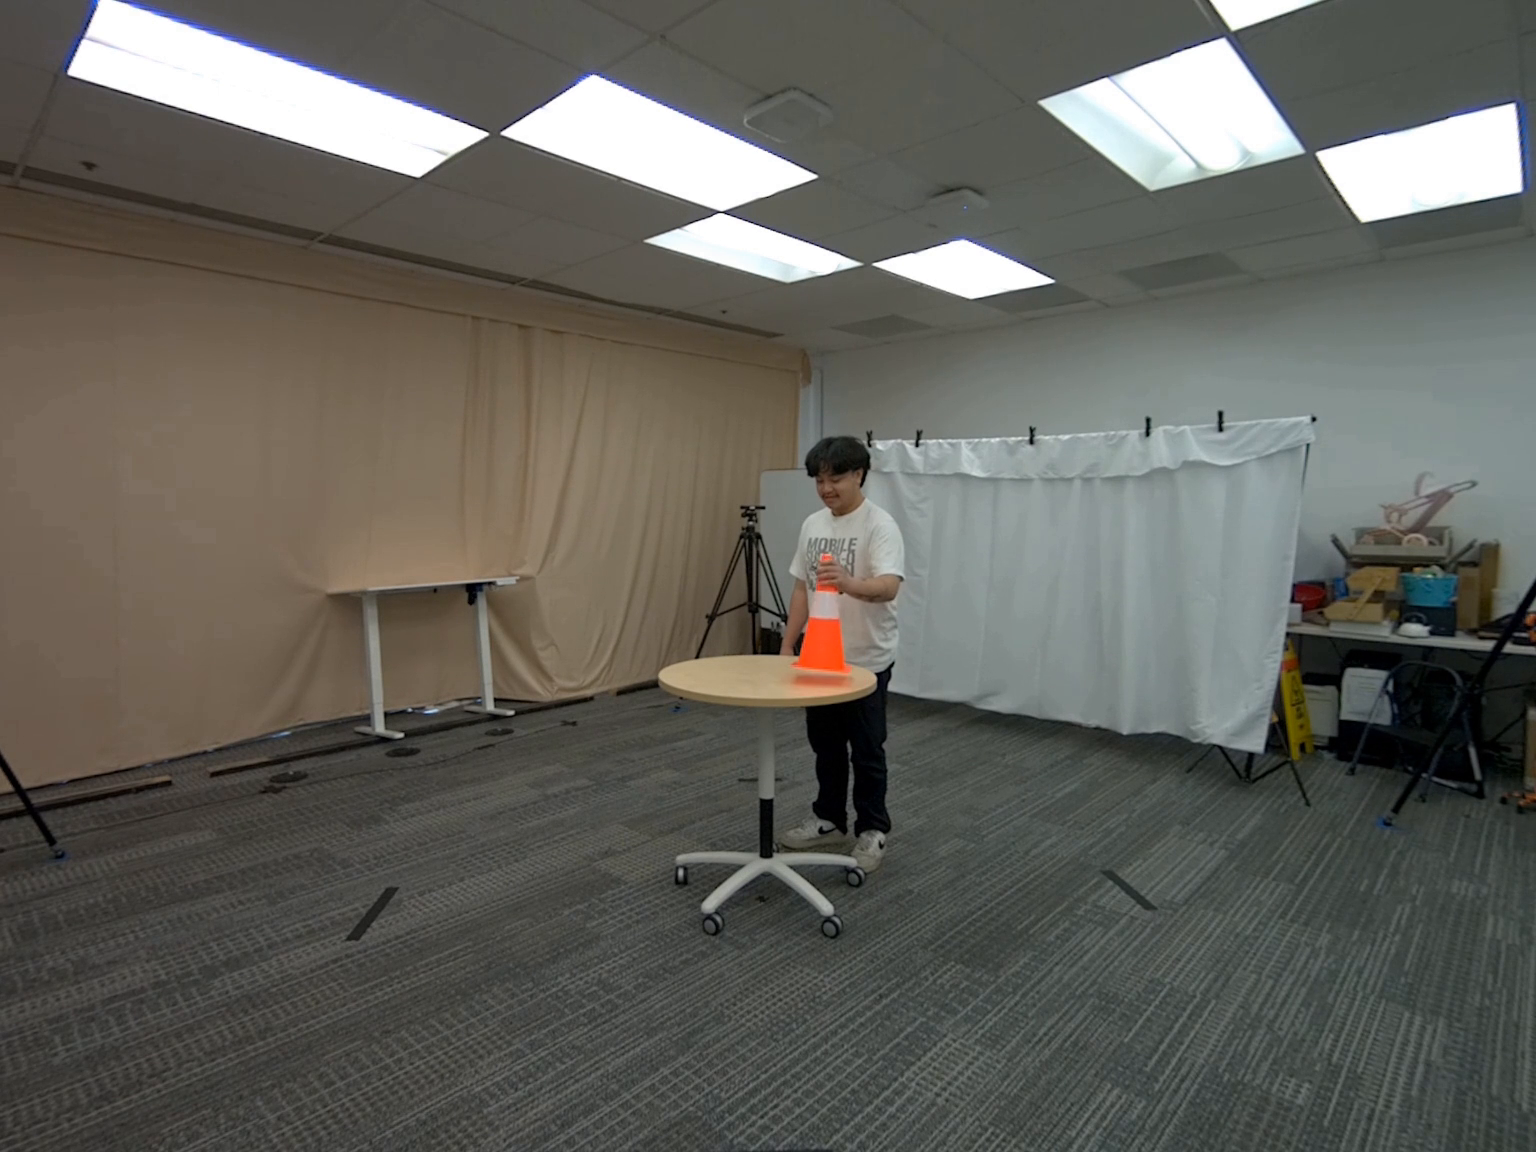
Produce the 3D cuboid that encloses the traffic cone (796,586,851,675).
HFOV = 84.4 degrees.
[{"bbox_3d":[0.191,0.126,2.869,0.207,0.383,0.201,2,1,8],"label":"traffic cone"}]
